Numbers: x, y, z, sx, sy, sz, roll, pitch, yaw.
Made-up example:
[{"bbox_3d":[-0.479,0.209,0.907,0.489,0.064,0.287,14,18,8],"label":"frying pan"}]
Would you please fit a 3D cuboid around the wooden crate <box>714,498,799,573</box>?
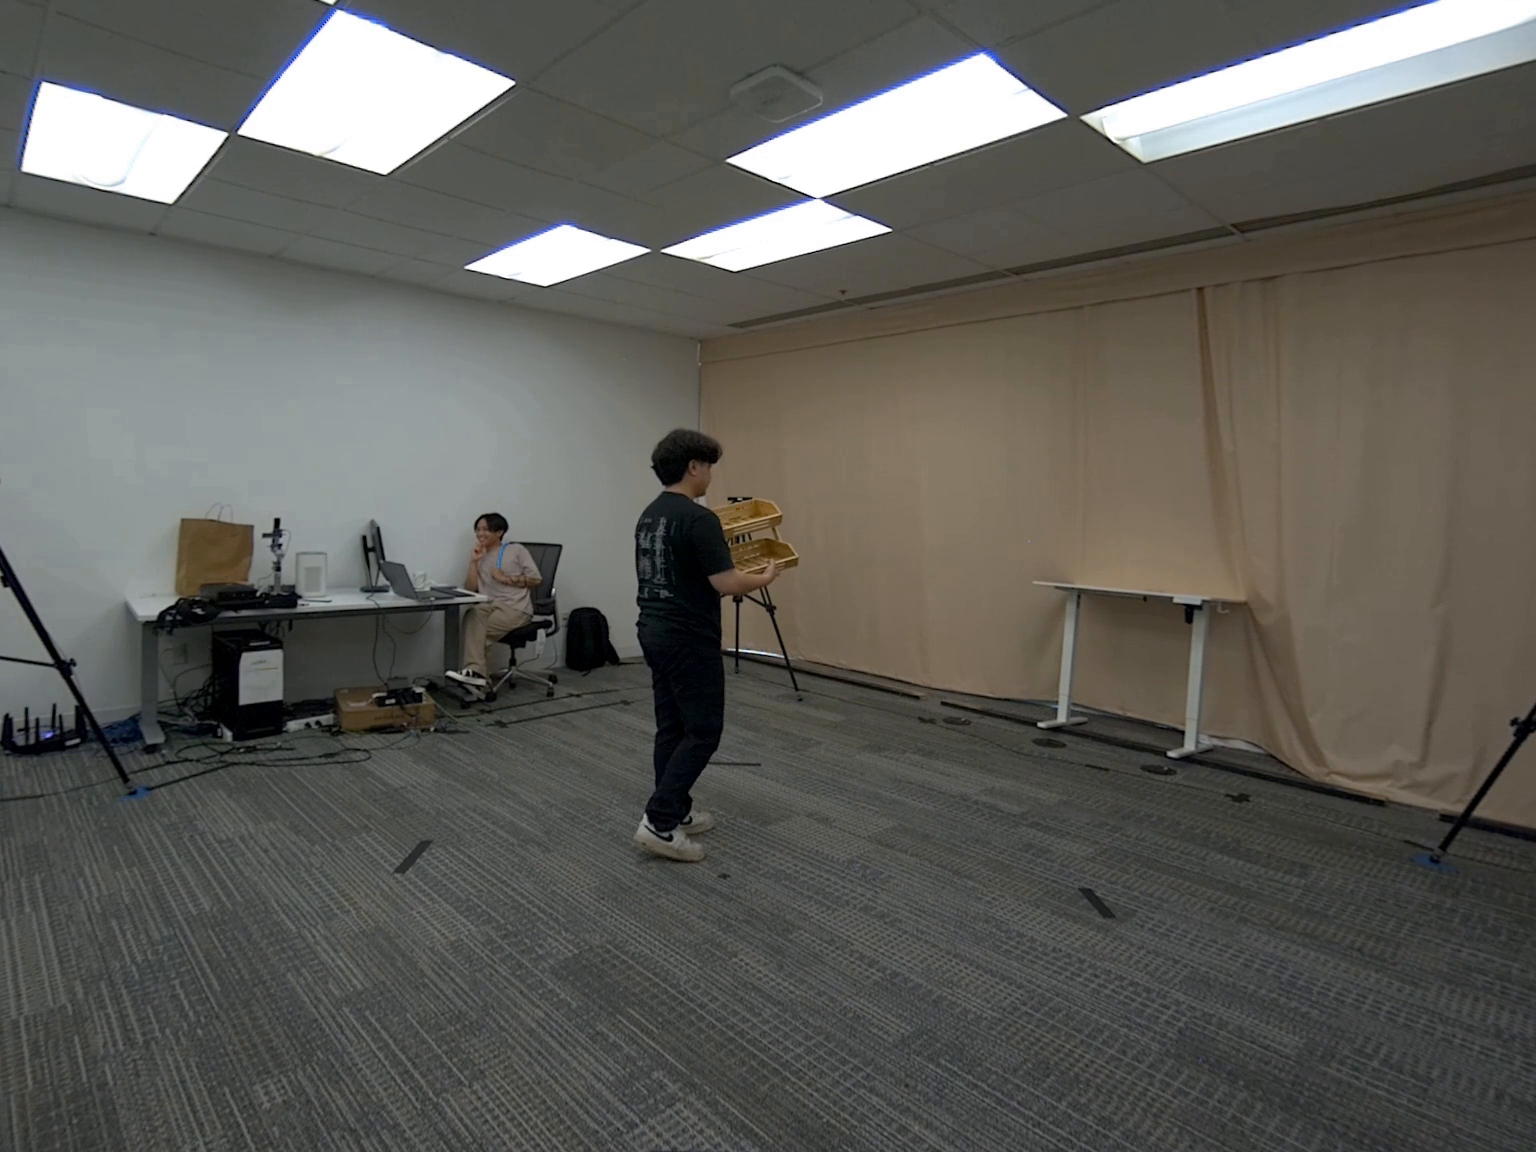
[{"bbox_3d":[-0.089,-0.160,3.557,0.320,0.270,0.310,-16,18,-29],"label":"wooden crate"}]
